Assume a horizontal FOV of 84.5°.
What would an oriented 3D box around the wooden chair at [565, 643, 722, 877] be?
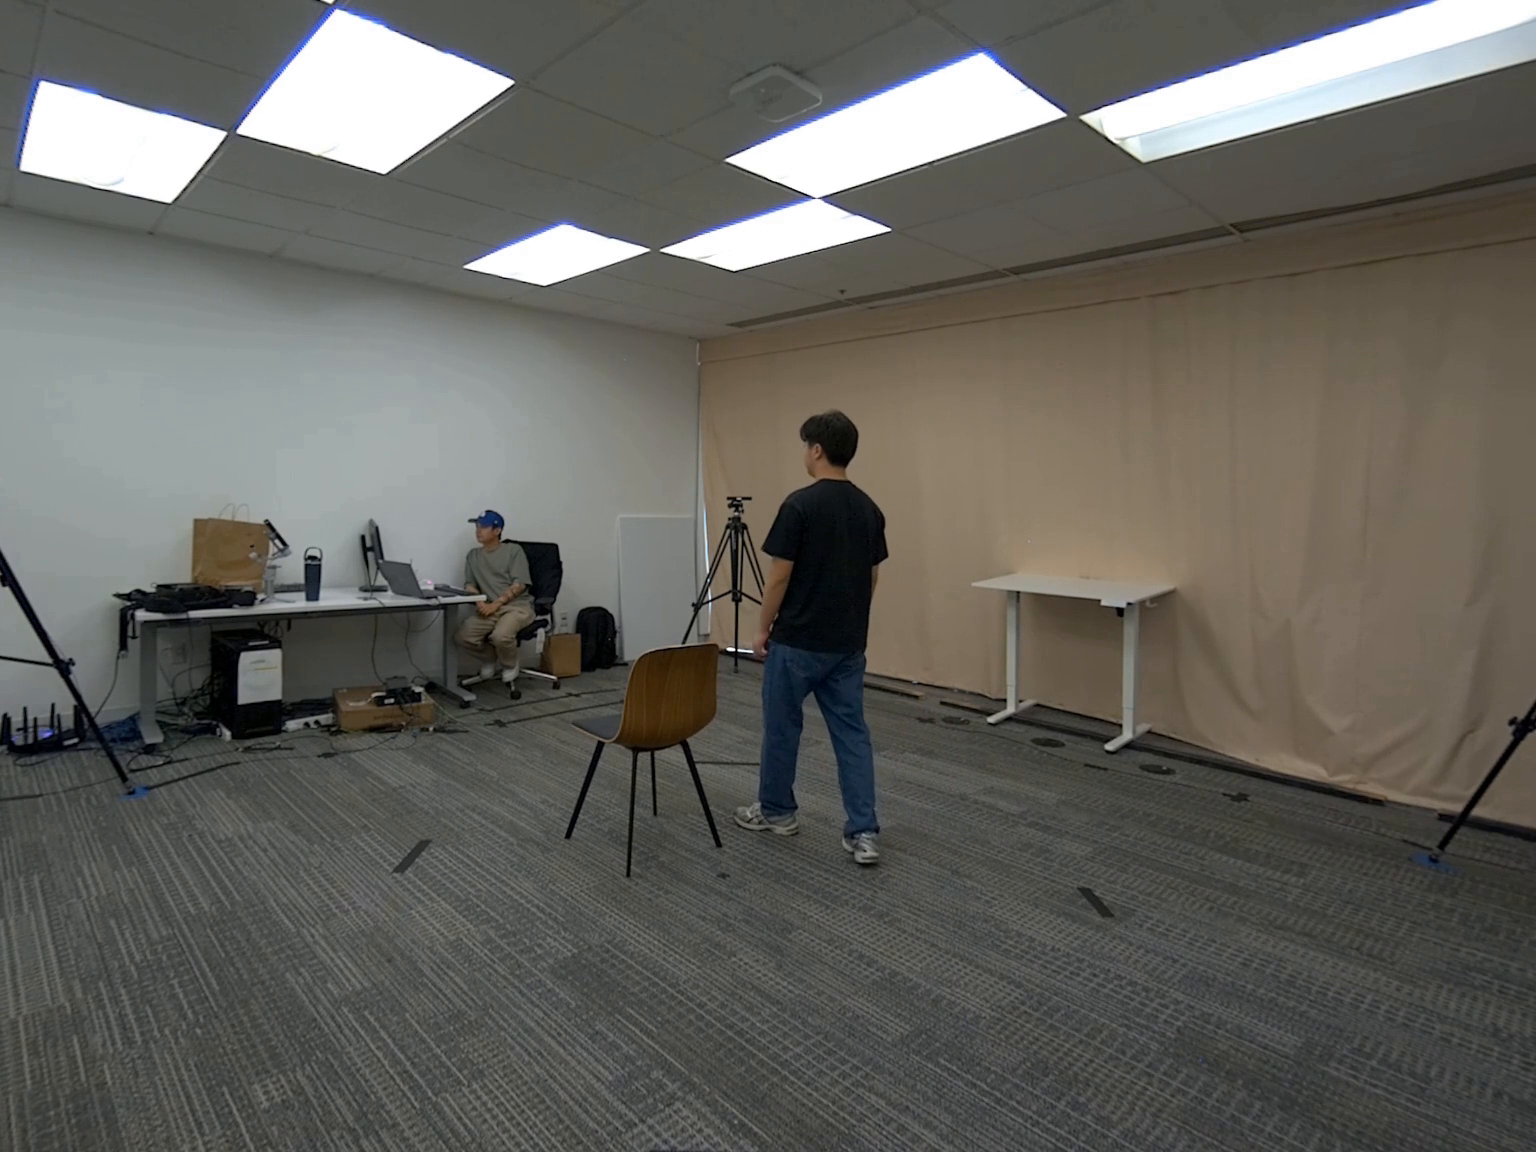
[{"bbox_3d":[-0.499,0.650,3.351,0.467,0.873,0.537,-2,9,-42],"label":"wooden chair"}]
